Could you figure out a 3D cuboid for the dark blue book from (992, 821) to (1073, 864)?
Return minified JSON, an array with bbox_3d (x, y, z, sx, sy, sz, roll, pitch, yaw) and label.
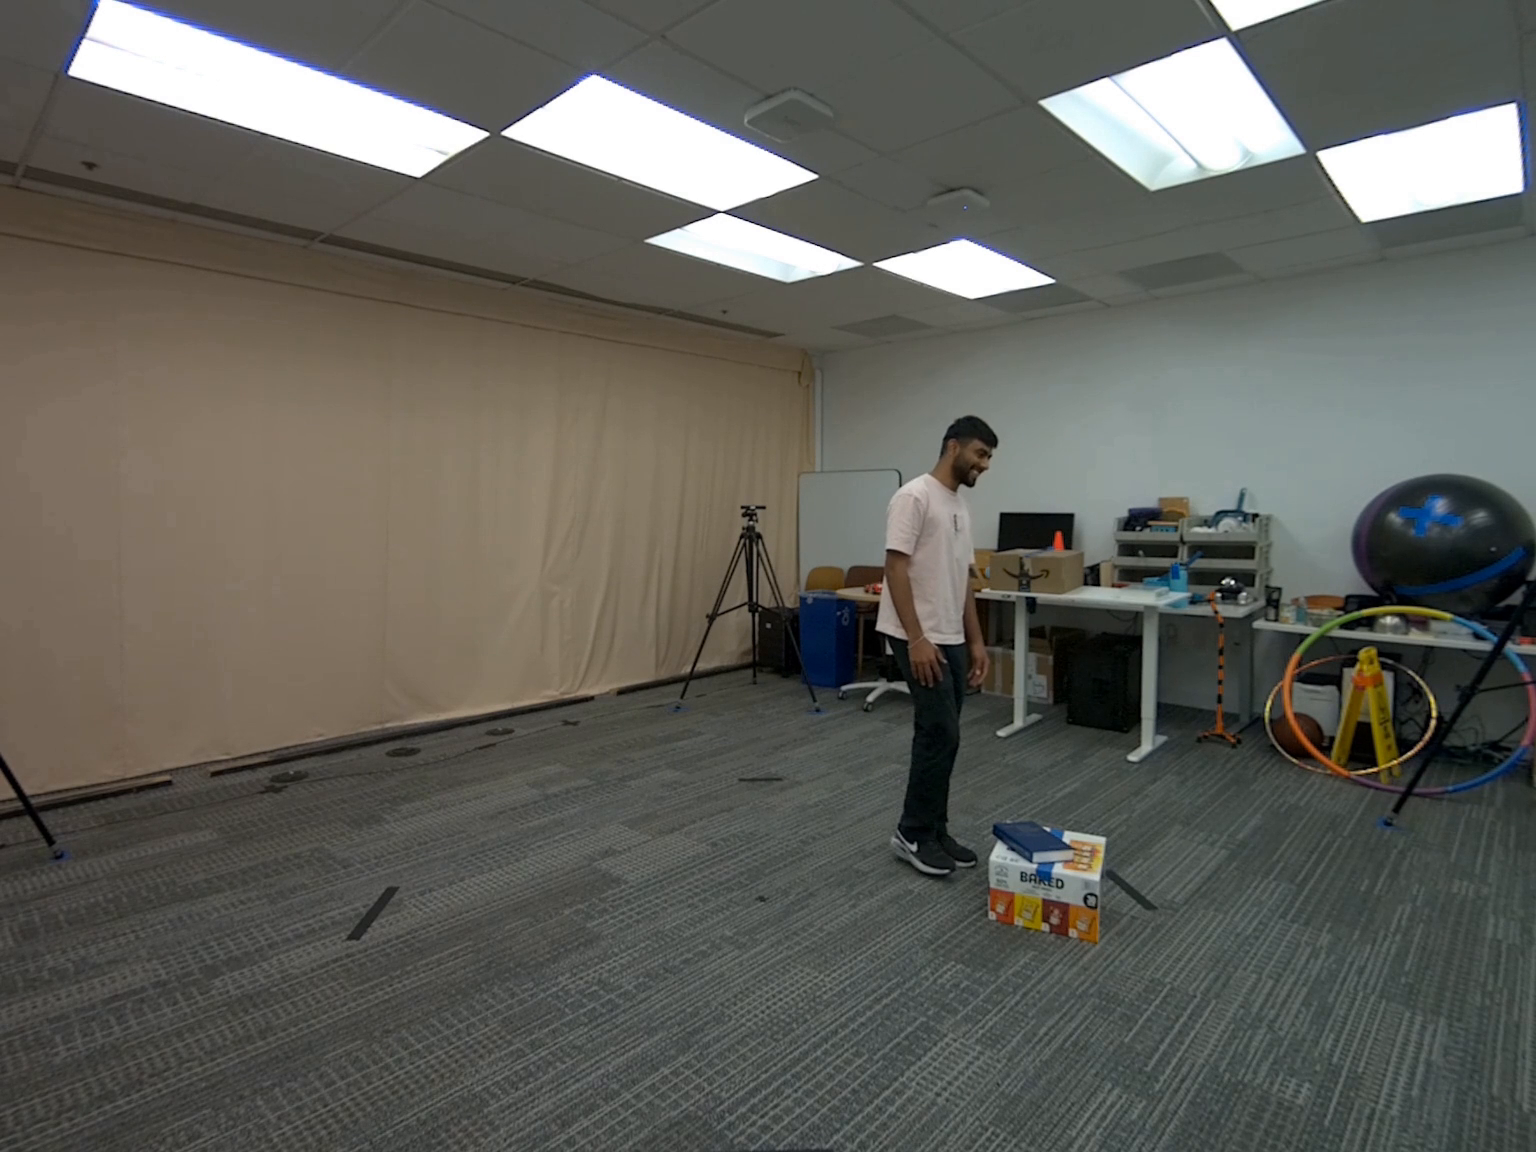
[{"bbox_3d":[0.938,0.932,2.929,0.161,0.045,0.249,1,5,-16],"label":"dark blue book"}]
